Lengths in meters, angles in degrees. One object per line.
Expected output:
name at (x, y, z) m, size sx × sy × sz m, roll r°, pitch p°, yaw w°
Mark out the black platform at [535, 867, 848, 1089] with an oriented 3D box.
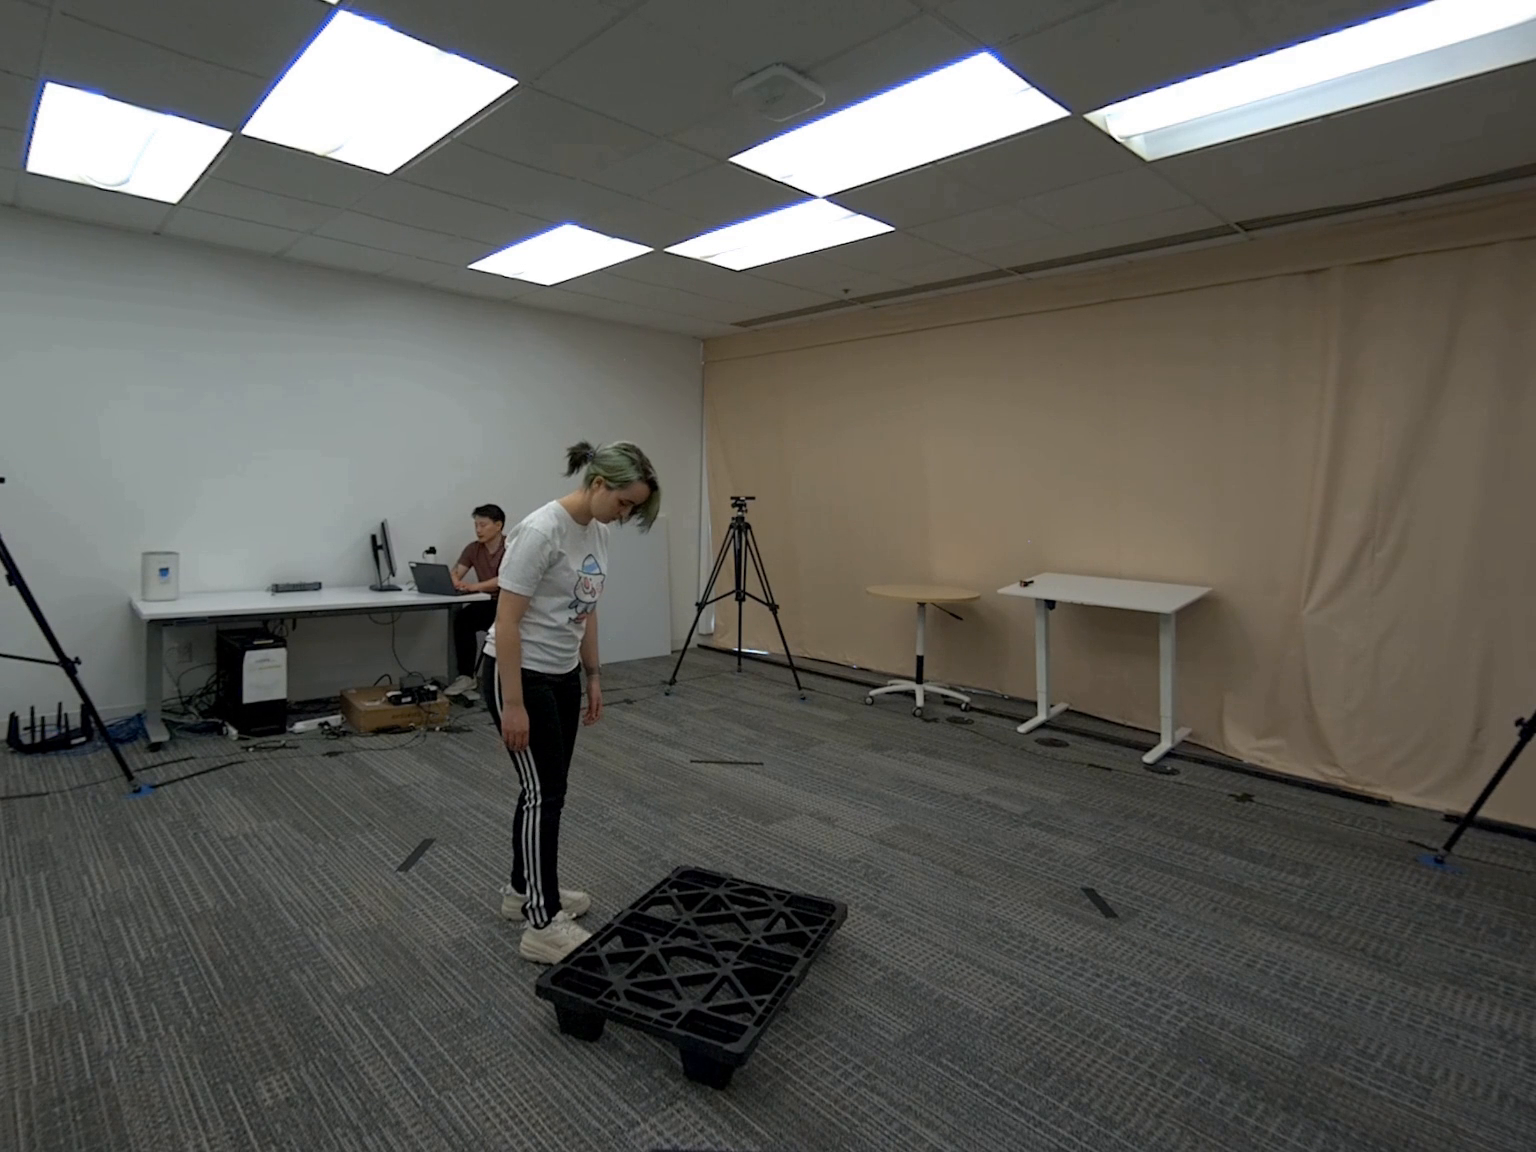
black platform at (-0.183, 1.099, 2.401) m, size 0.617 × 0.143 × 0.793 m, roll 5°, pitch 6°, yaw 24°
